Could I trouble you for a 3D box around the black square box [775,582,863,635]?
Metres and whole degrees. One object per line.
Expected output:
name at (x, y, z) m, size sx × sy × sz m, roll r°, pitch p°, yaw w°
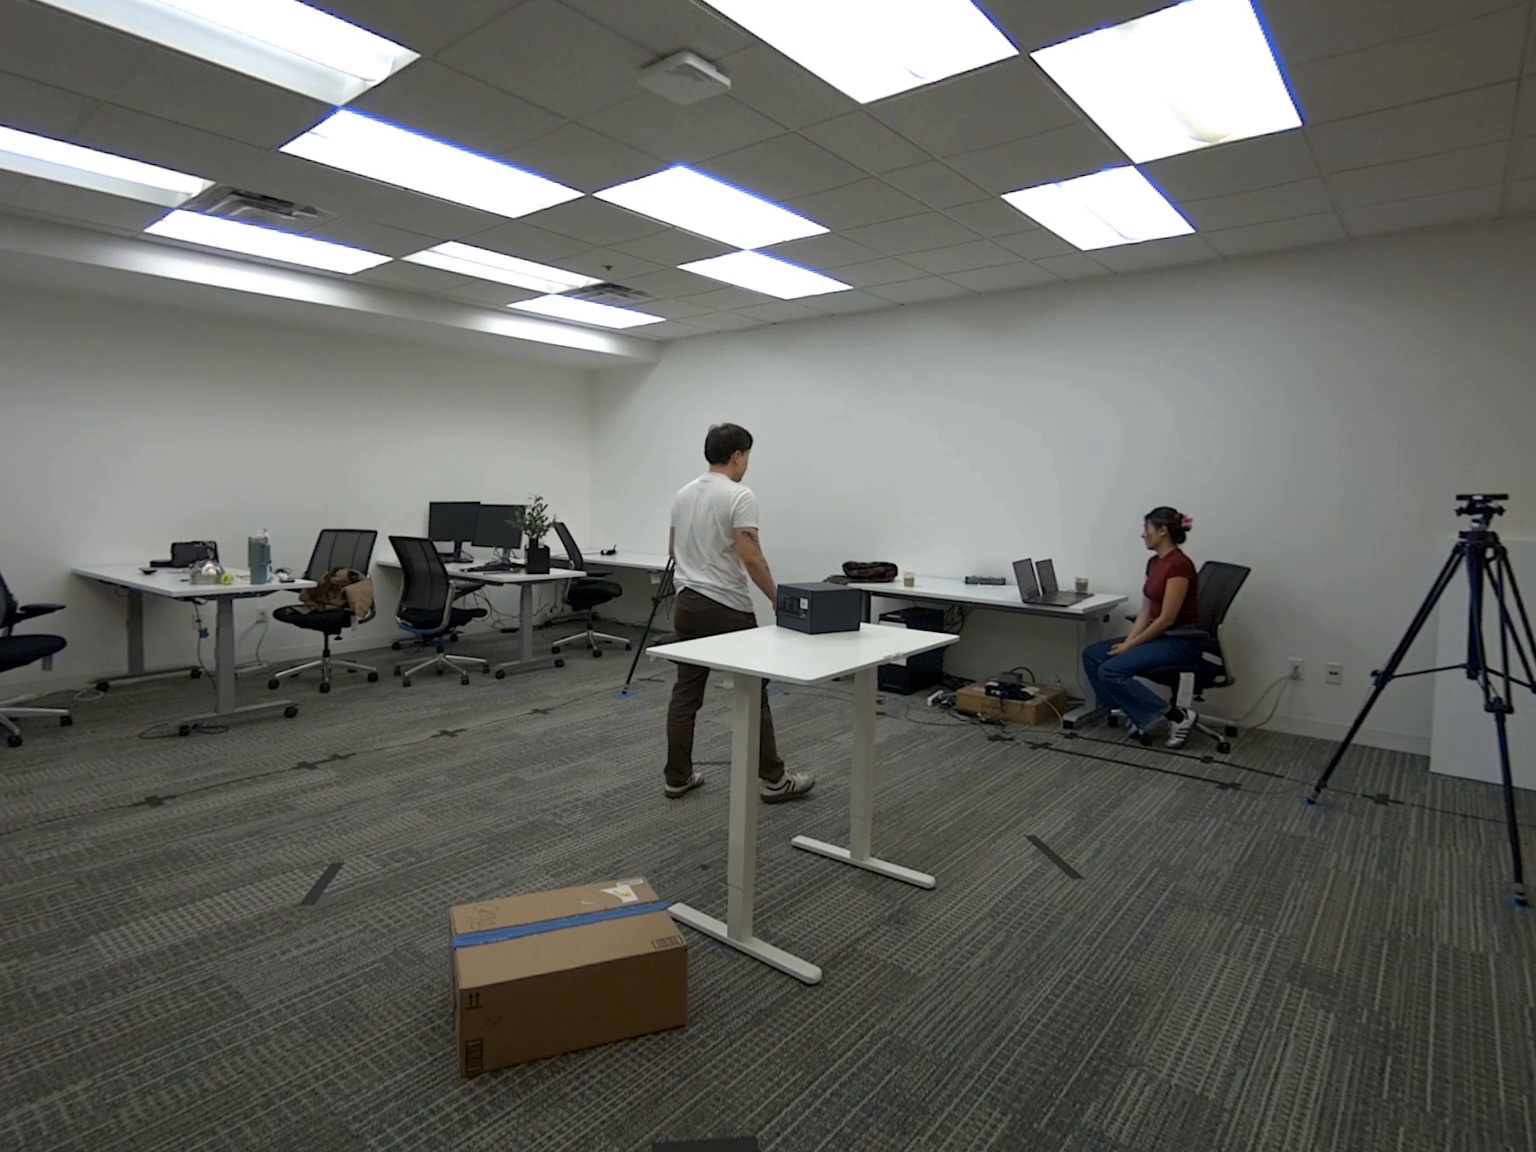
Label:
black square box at (0.175, 0.112, 3.111) m, size 0.221 × 0.155 × 0.224 m, roll -1°, pitch 5°, yaw -33°
